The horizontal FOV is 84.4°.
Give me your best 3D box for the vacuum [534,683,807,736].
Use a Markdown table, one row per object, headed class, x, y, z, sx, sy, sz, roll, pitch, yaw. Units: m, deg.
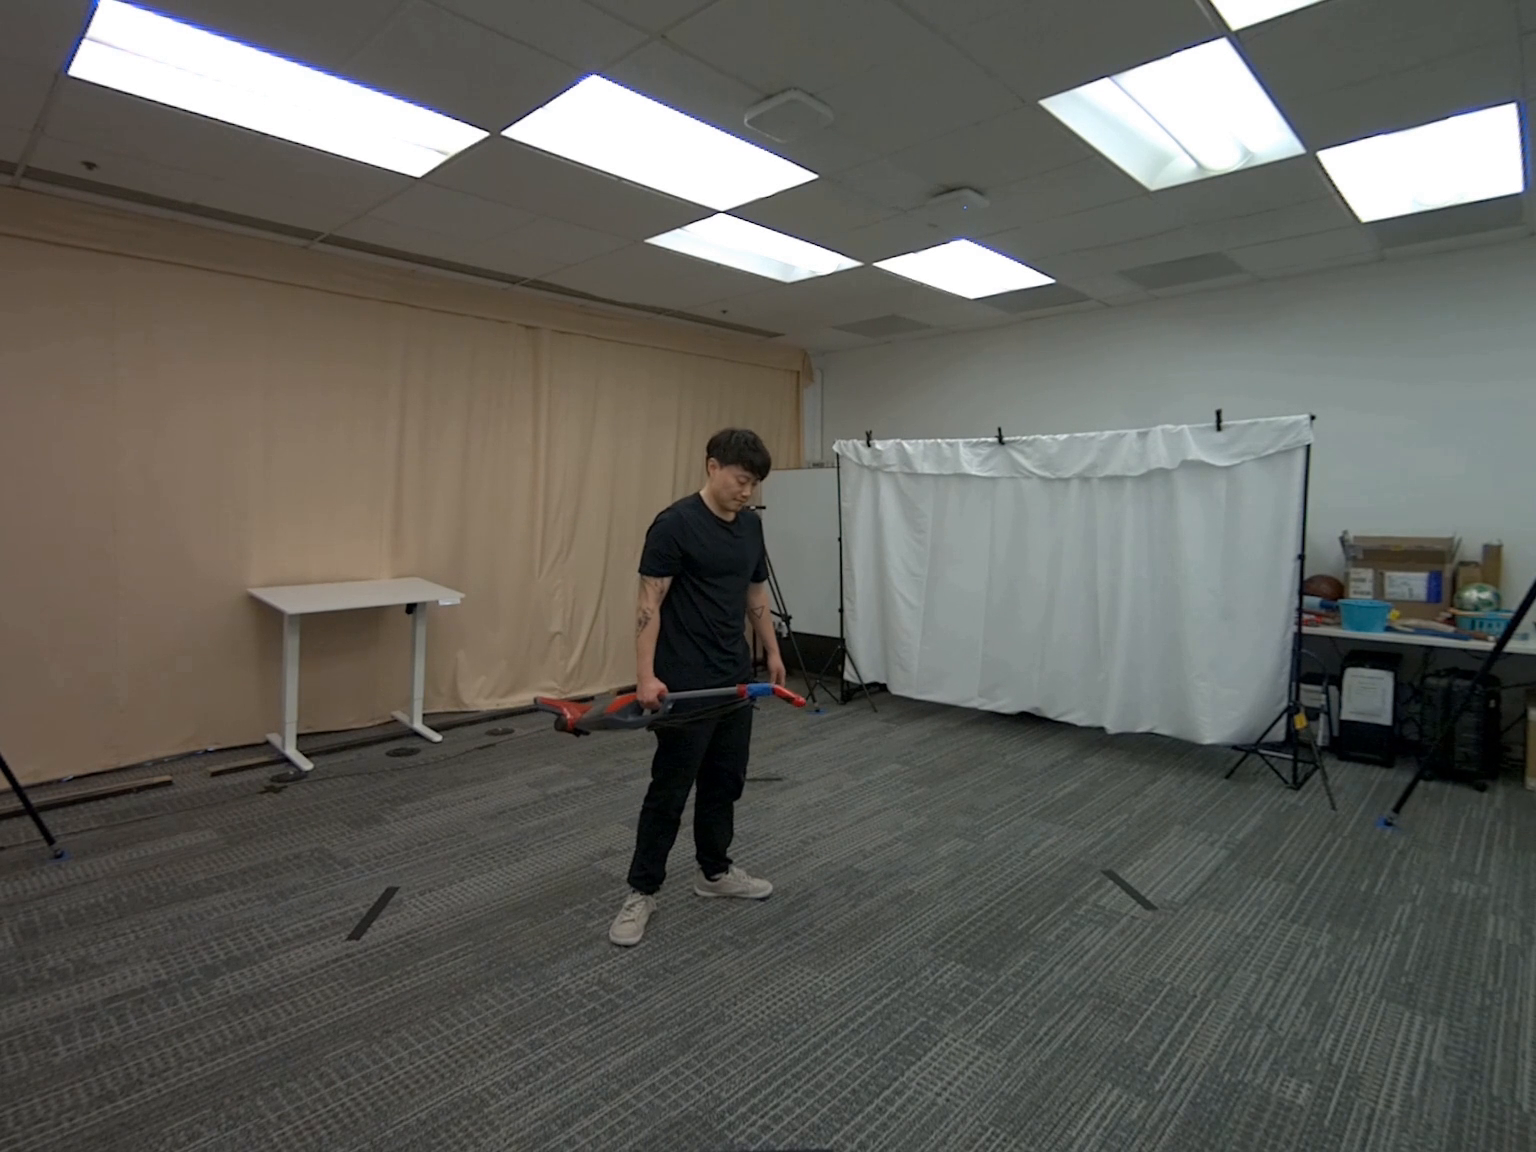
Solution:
| class | x | y | z | sx | sy | sz | roll | pitch | yaw |
| --- | --- | --- | --- | --- | --- | --- | --- | --- | --- |
| vacuum | -0.323 | 0.426 | 2.645 | 1.078 | 0.145 | 0.243 | -11 | -20 | 44 |
